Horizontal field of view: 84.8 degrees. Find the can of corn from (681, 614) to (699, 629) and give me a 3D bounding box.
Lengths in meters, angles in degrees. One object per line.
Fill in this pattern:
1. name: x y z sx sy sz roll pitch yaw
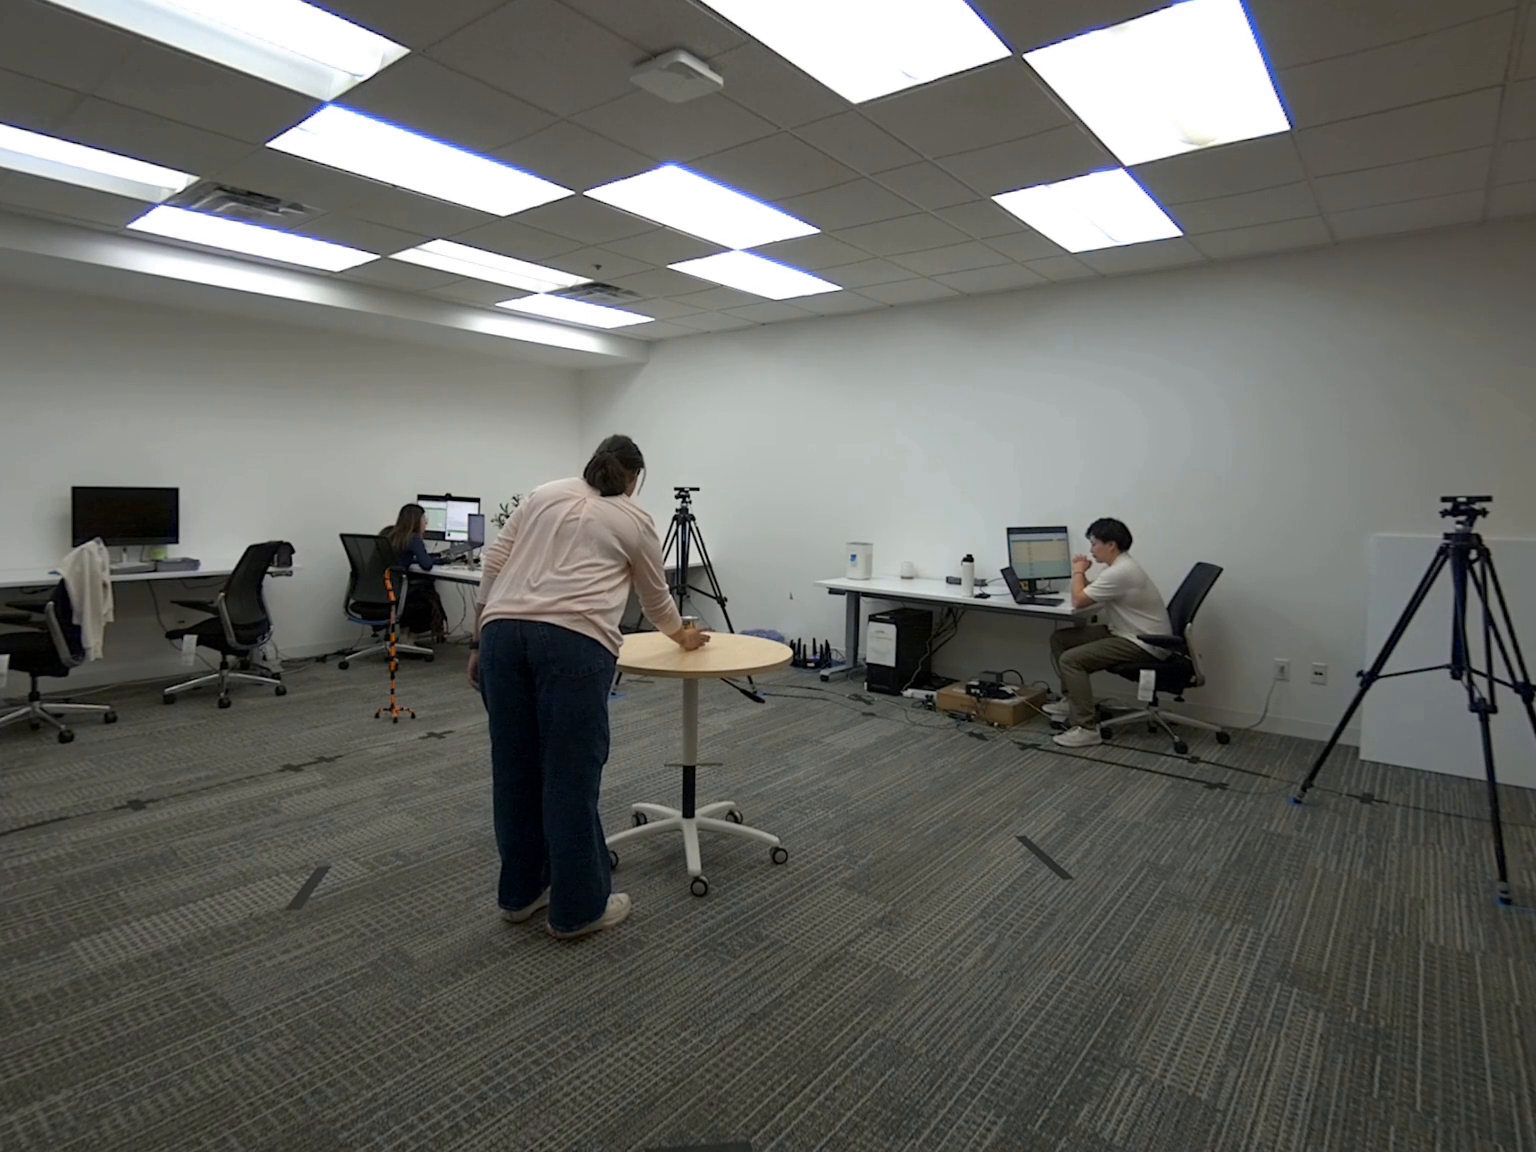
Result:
1. can of corn: -0.308 0.211 3.235 0.074 0.110 0.074 4 5 -2
